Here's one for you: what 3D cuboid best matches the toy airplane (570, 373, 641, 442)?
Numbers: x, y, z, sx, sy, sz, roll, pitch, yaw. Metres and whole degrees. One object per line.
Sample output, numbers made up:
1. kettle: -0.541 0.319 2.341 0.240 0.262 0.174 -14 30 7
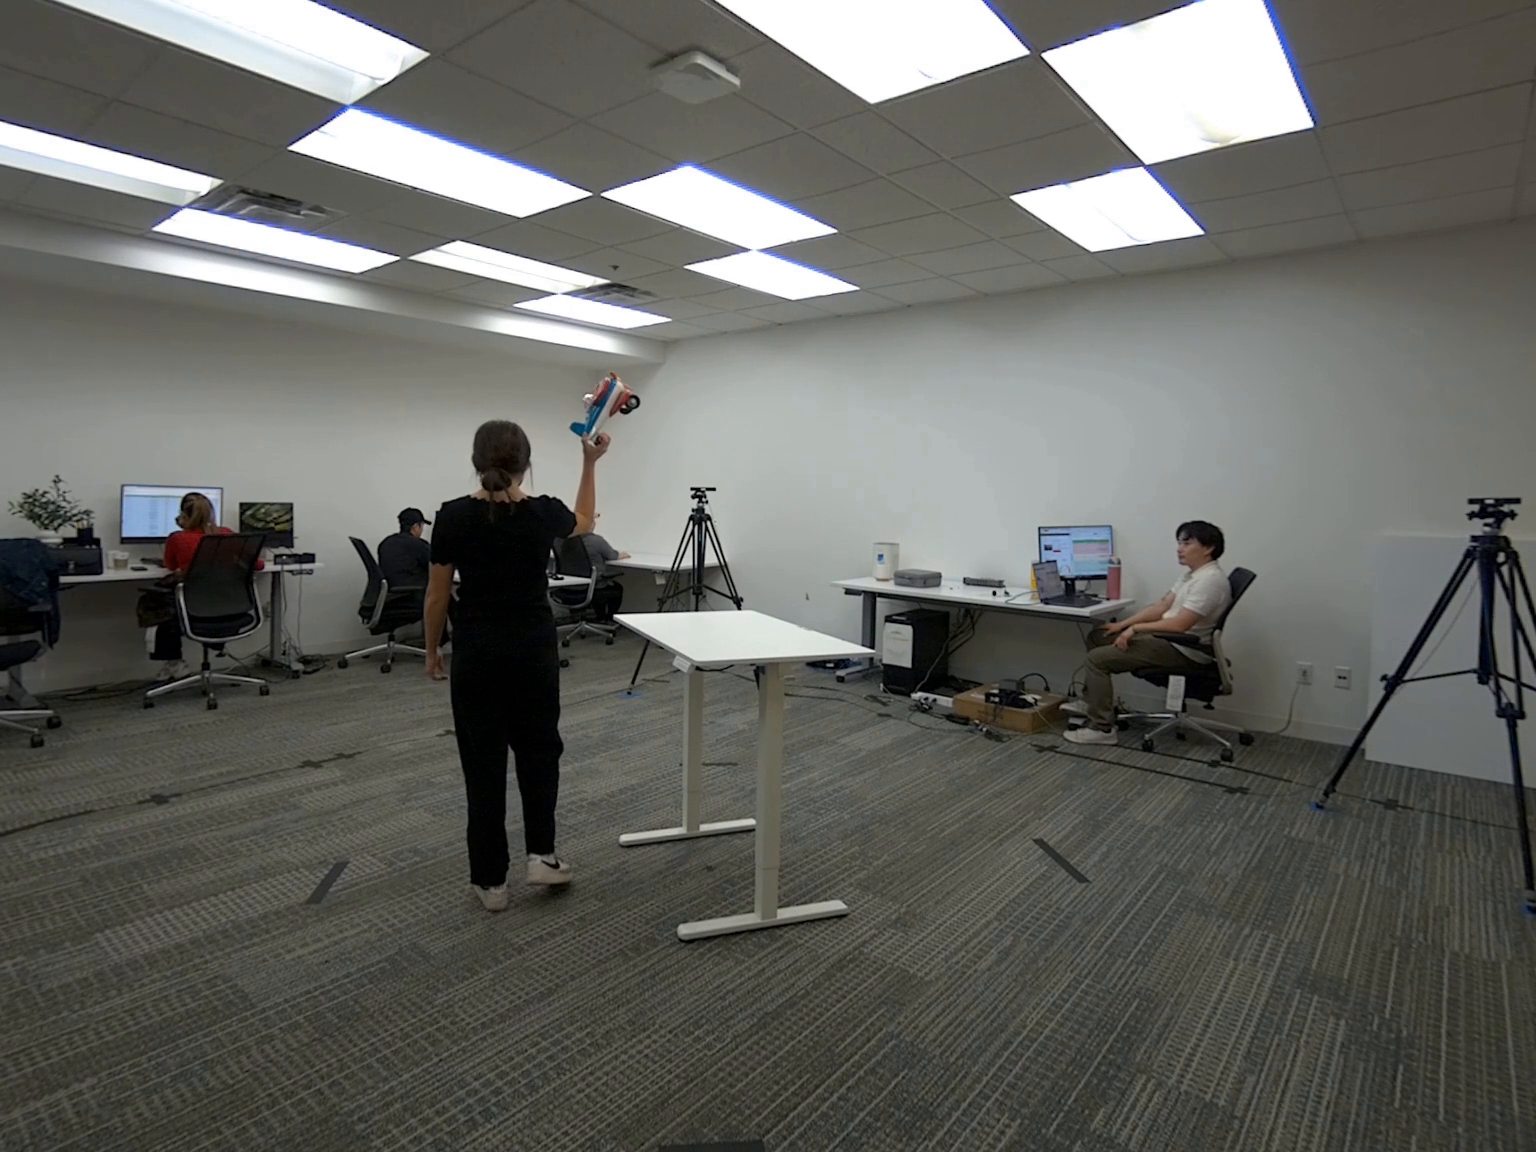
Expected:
1. toy airplane: -0.580 -0.590 3.016 0.254 0.153 0.262 -31 23 42
